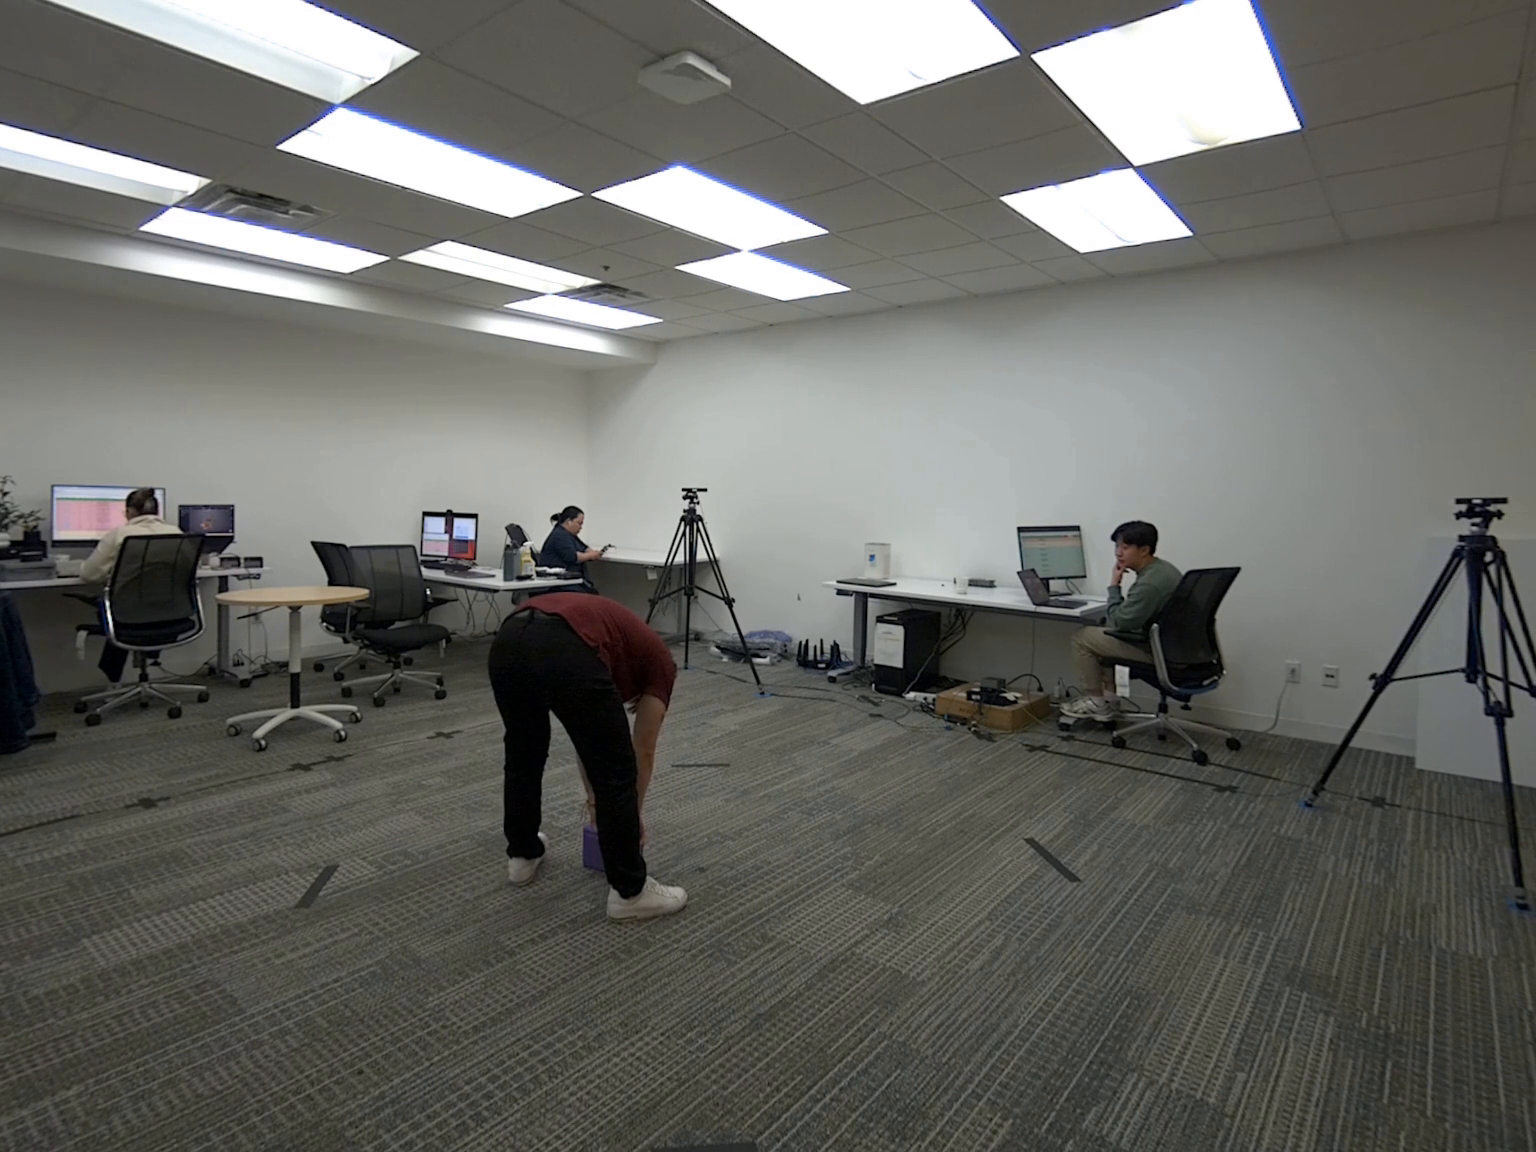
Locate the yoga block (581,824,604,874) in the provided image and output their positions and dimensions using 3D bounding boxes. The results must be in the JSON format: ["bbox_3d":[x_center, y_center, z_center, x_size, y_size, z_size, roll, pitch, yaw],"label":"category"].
[{"bbox_3d":[-0.578,0.992,3.078,0.236,0.148,0.075,4,7,30],"label":"yoga block"}]
